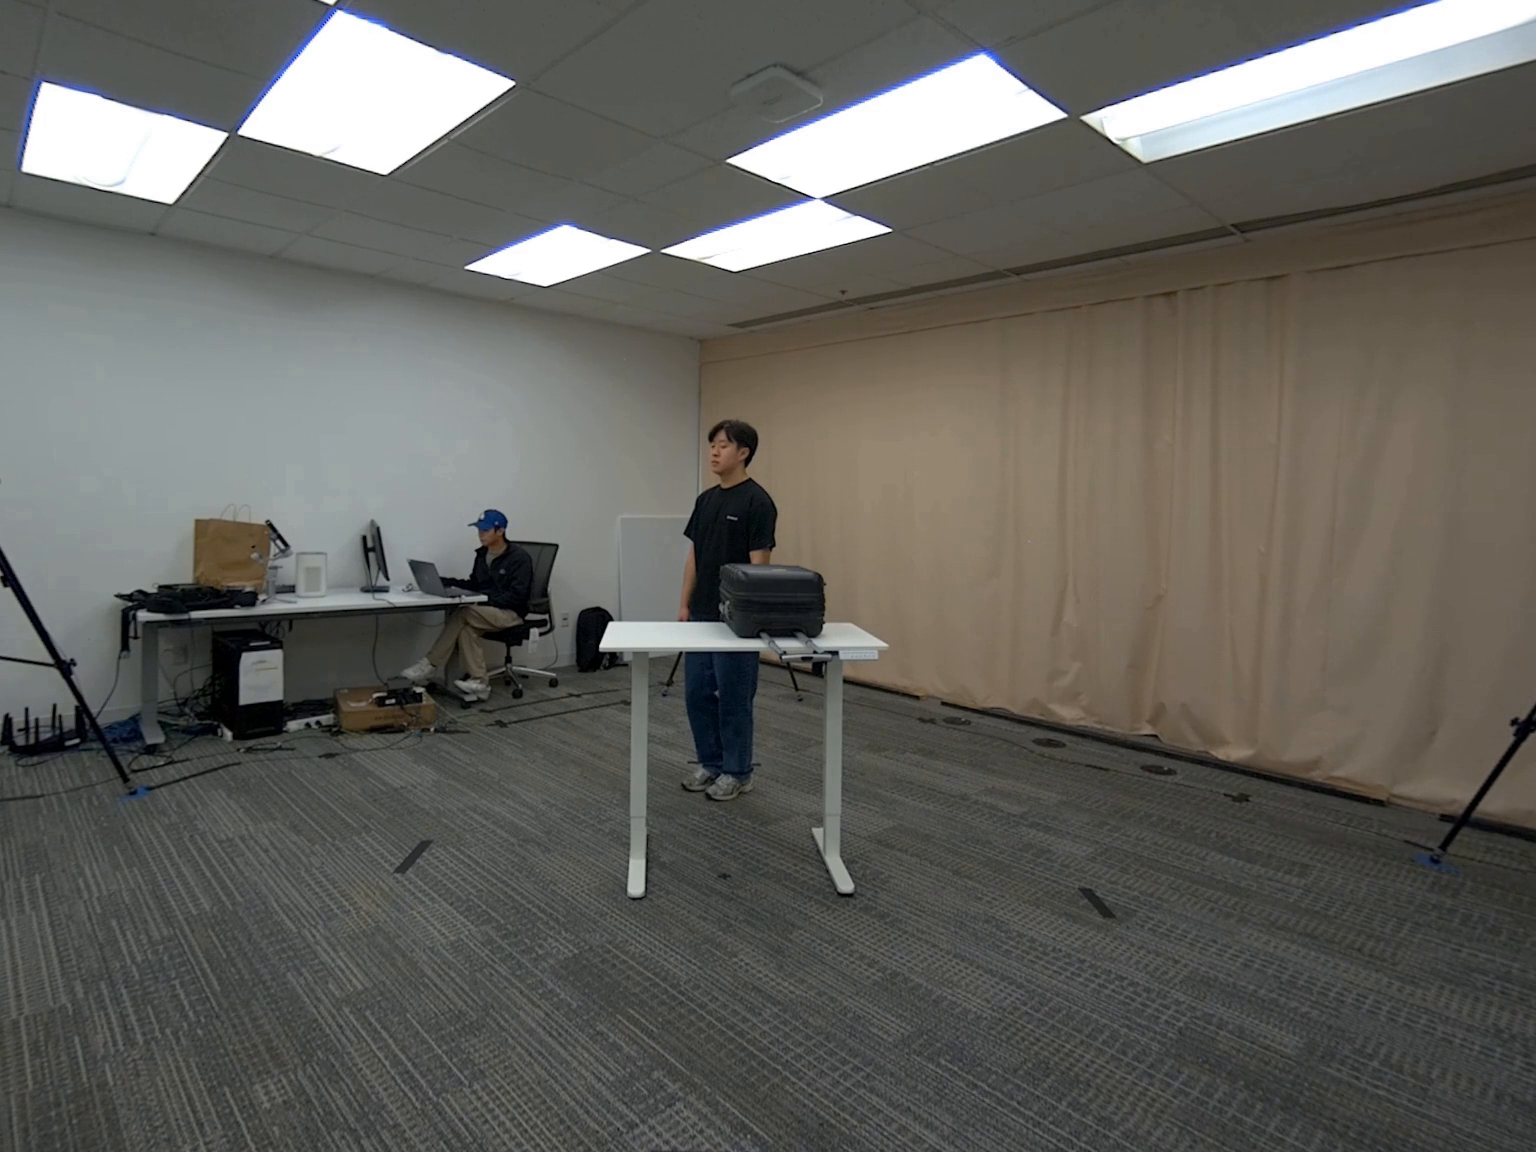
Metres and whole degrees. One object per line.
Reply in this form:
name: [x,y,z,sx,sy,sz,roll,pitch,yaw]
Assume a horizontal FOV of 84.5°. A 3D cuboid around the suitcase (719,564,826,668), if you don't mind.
suitcase: [0.034,0.100,3.096,0.381,0.257,0.986,2,2,-10]
